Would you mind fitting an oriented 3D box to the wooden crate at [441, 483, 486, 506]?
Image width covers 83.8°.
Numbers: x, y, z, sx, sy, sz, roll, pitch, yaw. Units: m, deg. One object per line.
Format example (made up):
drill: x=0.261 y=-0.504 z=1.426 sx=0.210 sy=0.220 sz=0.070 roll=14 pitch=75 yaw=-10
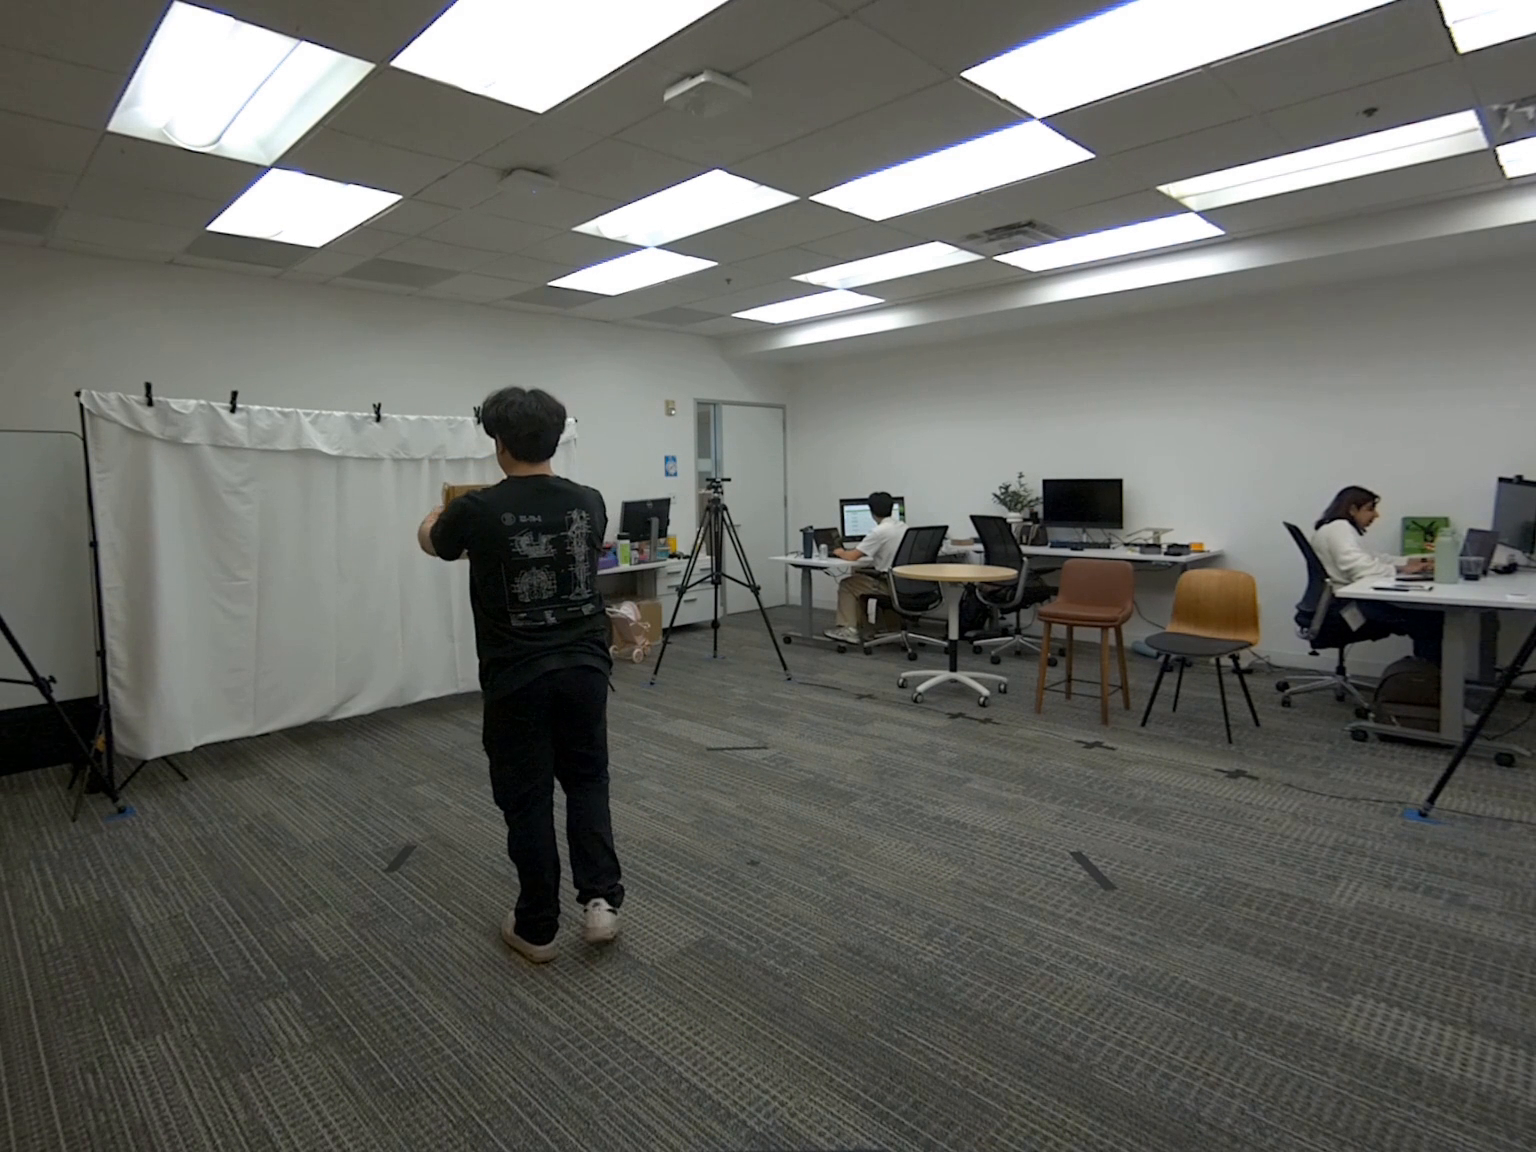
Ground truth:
wooden crate: x=-0.991 y=-0.210 z=3.032 sx=0.317 sy=0.271 sz=0.311 roll=-6 pitch=12 yaw=-27
